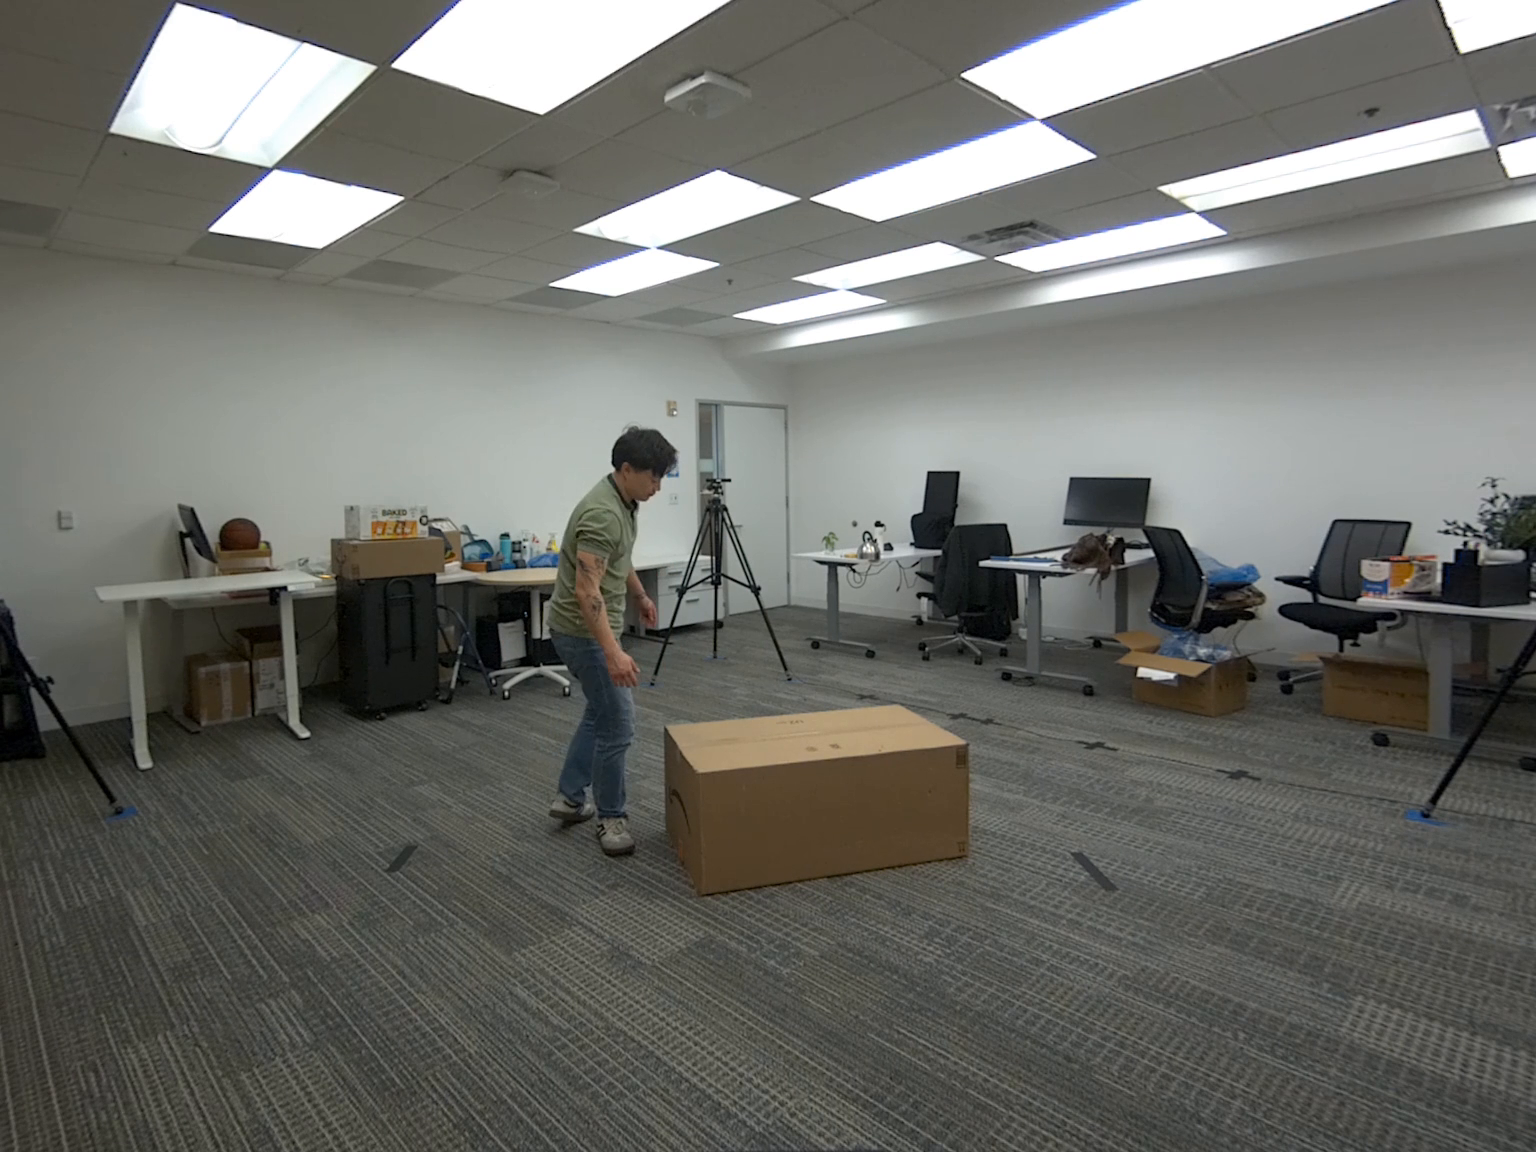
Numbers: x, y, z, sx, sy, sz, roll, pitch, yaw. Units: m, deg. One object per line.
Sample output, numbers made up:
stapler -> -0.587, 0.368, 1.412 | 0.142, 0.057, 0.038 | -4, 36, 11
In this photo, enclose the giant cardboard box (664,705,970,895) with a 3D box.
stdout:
giant cardboard box -> 0.161, 0.809, 3.247 | 1.012, 0.424, 0.588 | -3, 6, -15
